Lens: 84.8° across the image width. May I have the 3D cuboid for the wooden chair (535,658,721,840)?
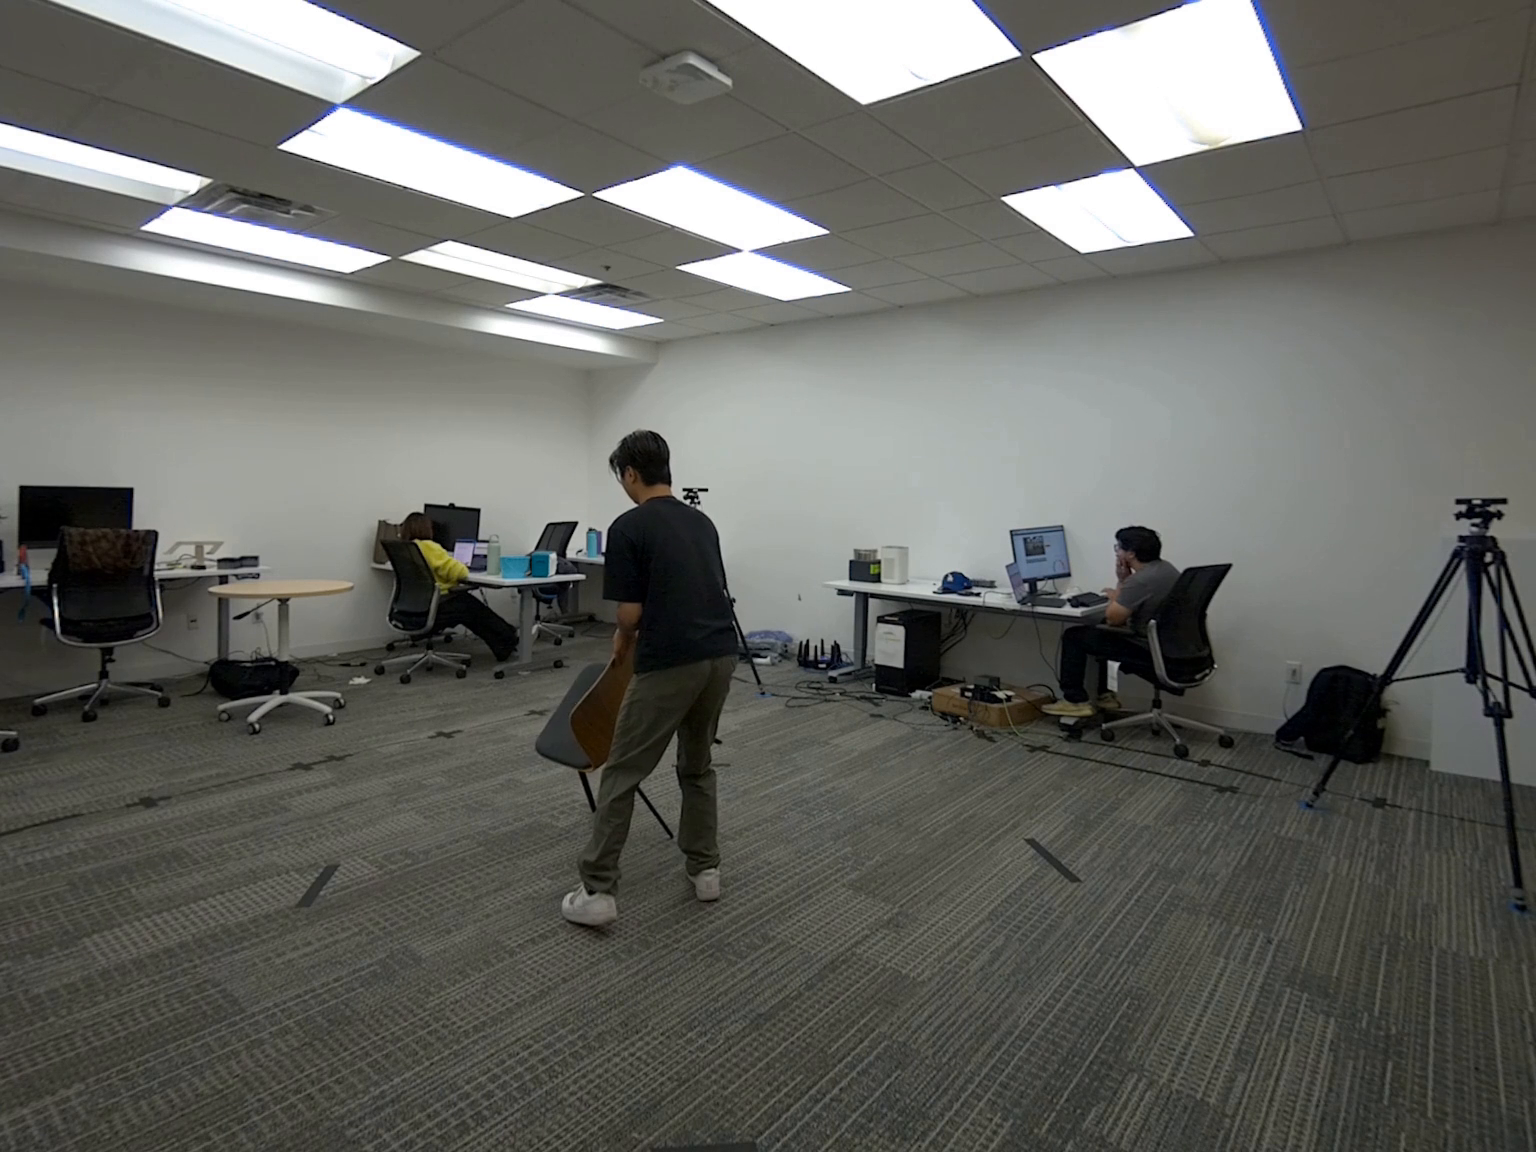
[{"bbox_3d":[-0.661,0.577,3.378,0.540,0.482,0.843,8,-38,32],"label":"wooden chair"}]
